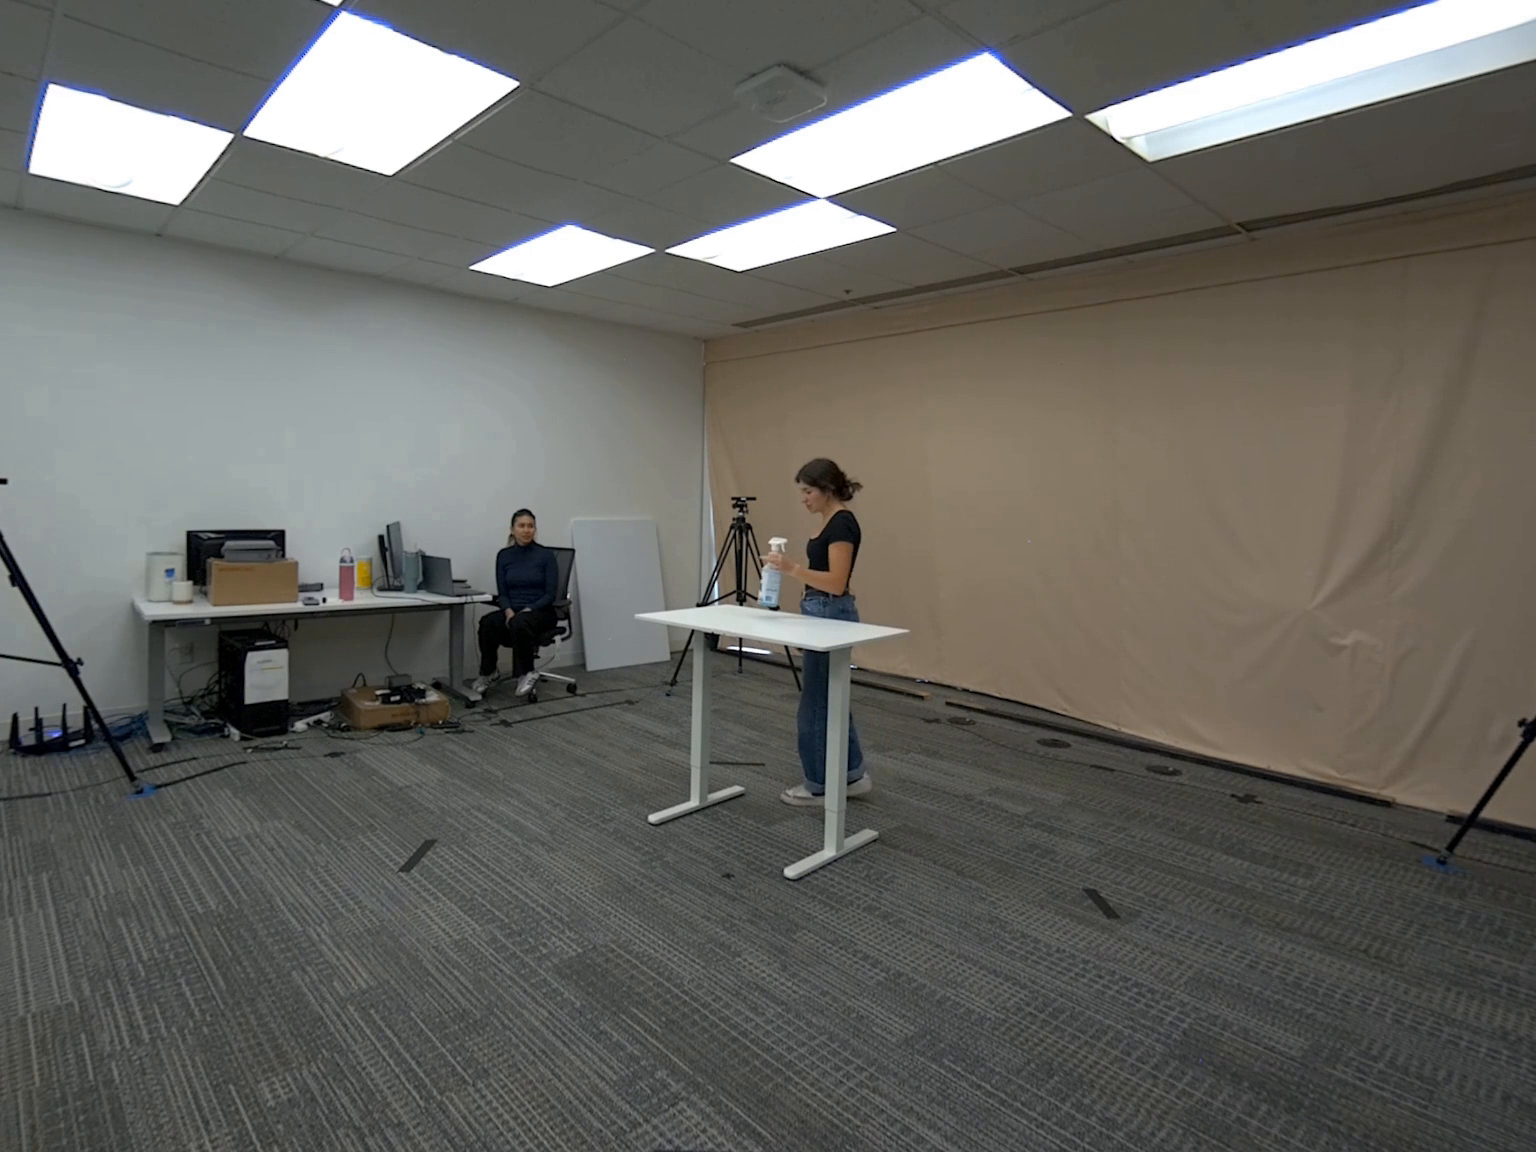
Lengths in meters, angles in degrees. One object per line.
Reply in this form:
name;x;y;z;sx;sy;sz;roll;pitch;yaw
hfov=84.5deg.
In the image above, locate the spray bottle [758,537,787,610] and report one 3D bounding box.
spray bottle;0.020;-0.018;3.631;0.085;0.296;0.092;6;5;-28
